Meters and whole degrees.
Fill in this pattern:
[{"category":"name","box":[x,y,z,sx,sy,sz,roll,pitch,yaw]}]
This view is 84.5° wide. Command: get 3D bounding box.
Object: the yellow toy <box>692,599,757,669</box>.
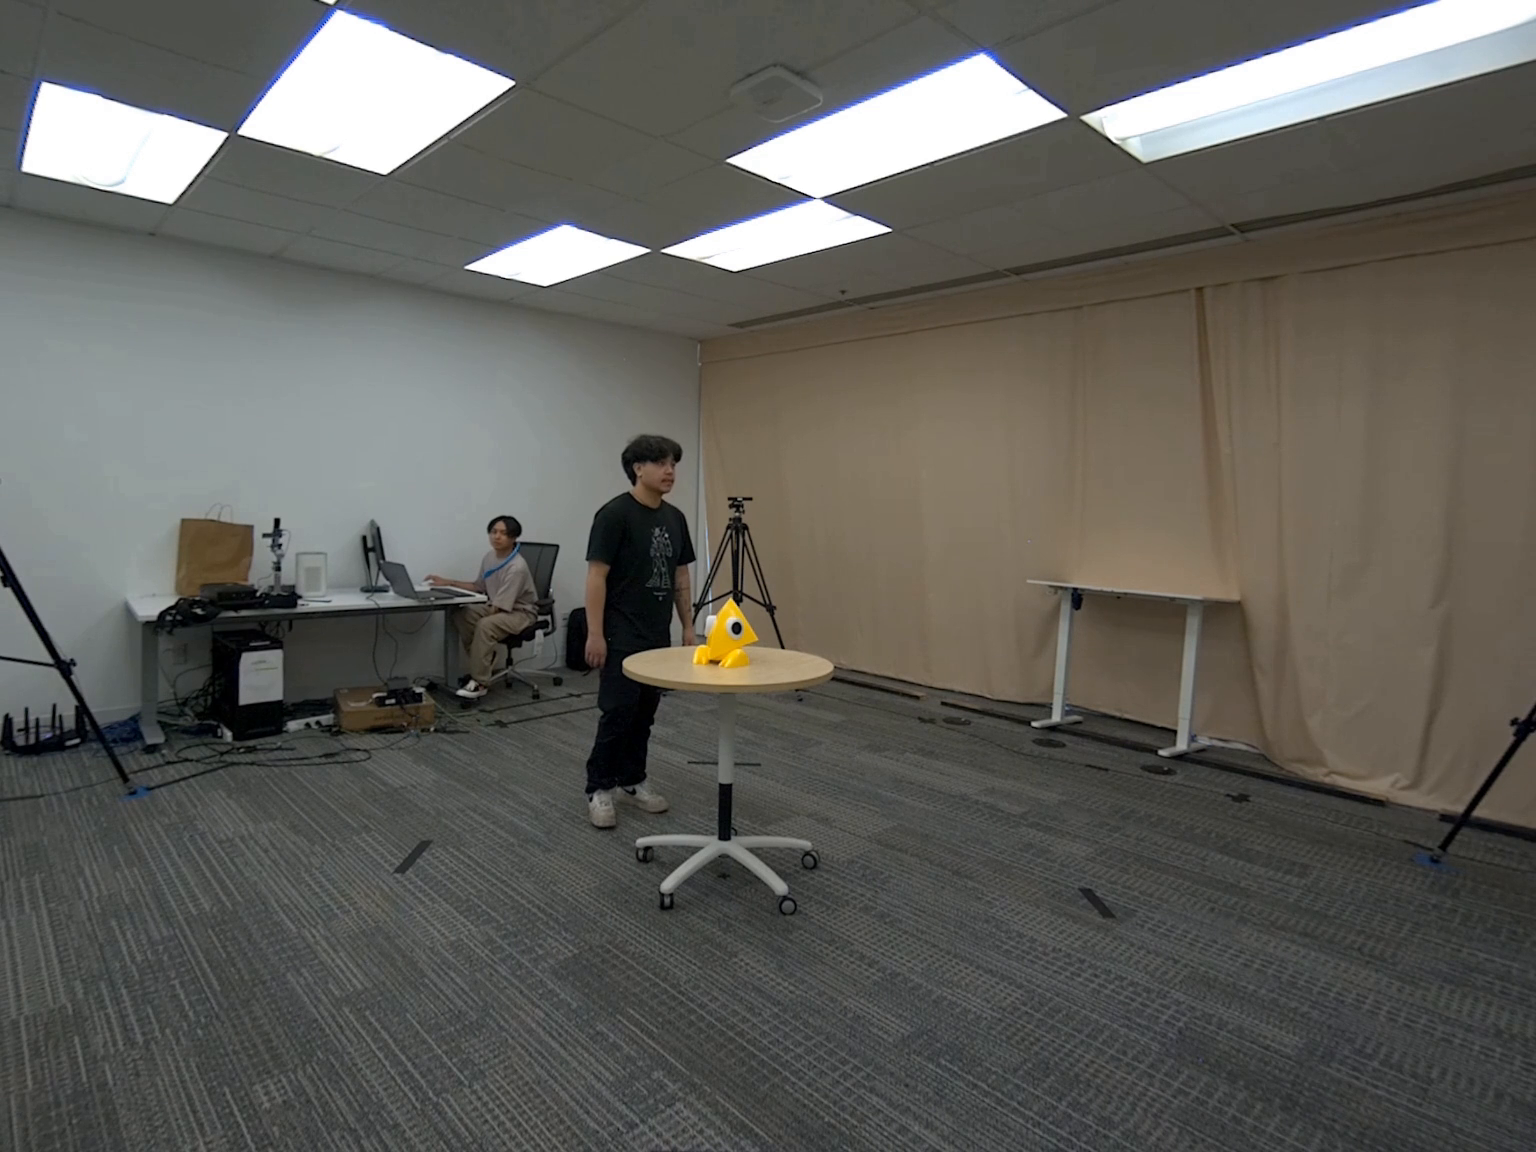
[{"category":"yellow toy","box":[-0.173,0.204,3.072,0.209,0.230,0.190,3,5,27]}]
